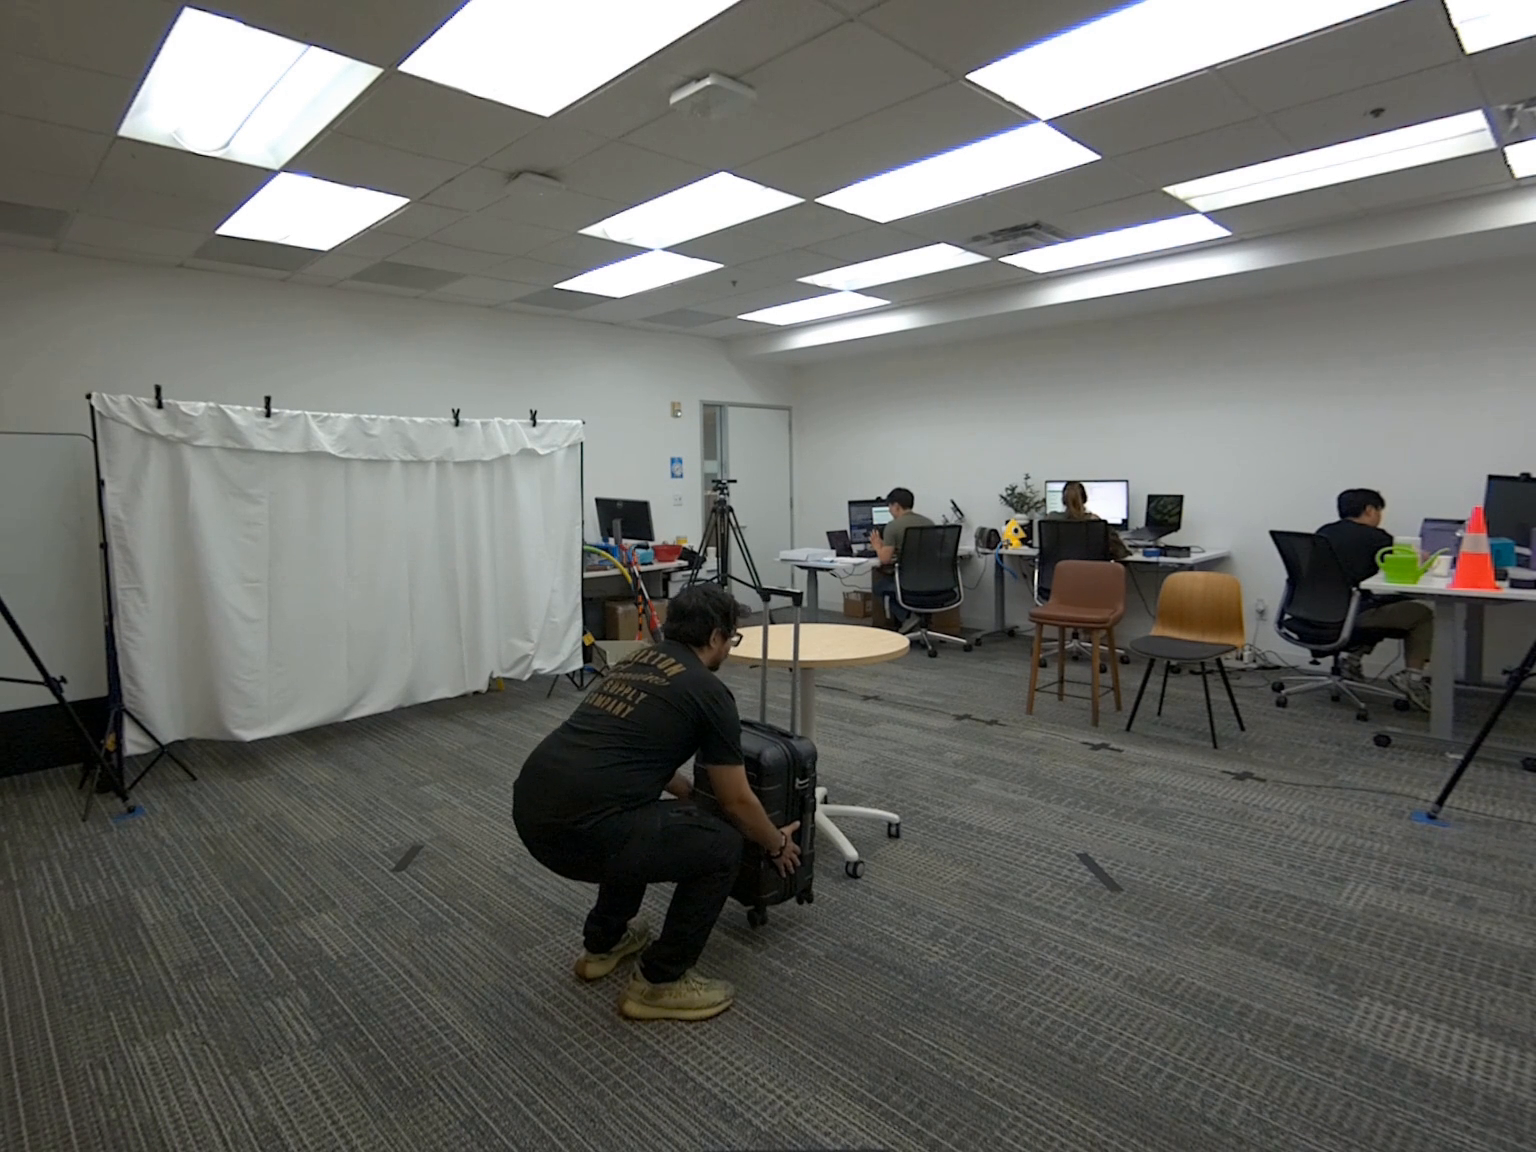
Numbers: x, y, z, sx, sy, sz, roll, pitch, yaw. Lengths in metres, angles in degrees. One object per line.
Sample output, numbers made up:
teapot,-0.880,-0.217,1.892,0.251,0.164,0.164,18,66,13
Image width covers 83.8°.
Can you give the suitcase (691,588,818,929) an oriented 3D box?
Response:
suitcase,-0.034,0.535,2.666,0.396,0.974,0.250,6,7,44
